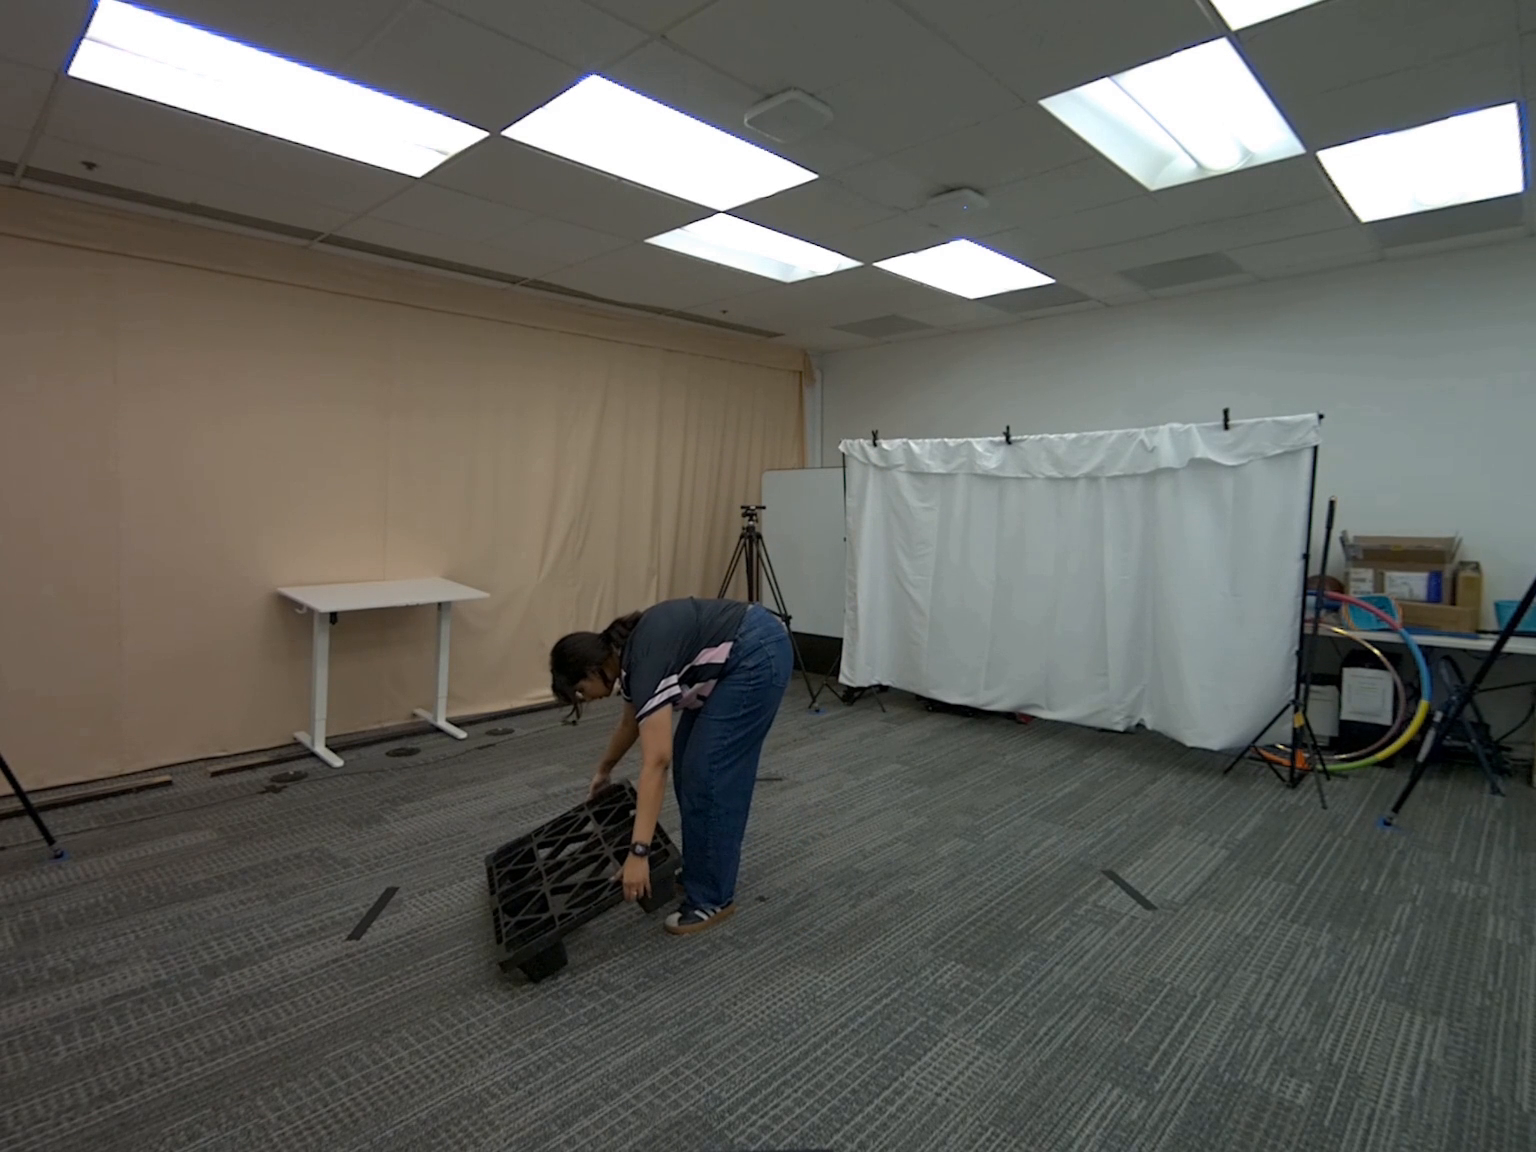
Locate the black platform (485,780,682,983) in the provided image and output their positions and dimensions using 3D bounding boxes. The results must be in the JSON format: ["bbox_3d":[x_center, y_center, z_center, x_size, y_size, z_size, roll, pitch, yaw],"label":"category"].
[{"bbox_3d":[-0.642,1.006,2.852,0.598,0.142,0.823,-26,13,-16],"label":"black platform"}]
